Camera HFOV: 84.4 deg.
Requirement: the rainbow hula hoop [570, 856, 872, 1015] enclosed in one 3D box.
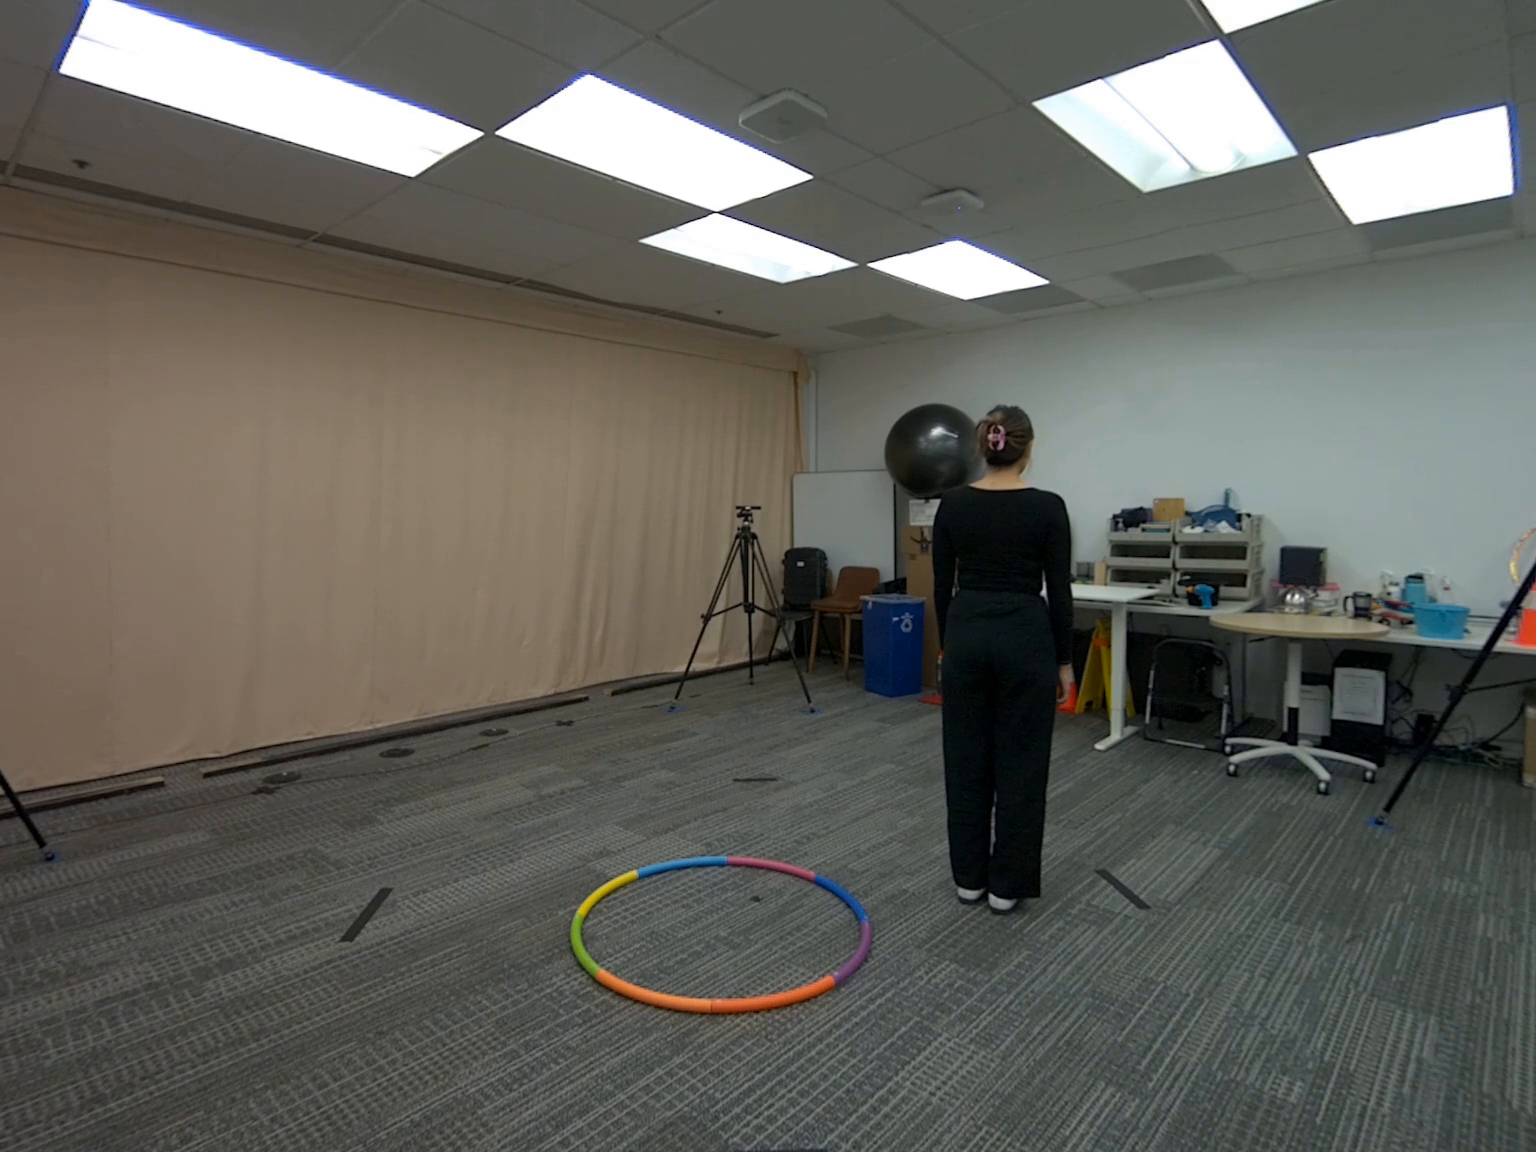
[{"bbox_3d":[-0.153,1.132,2.791,0.978,0.035,0.982,0,4,-2],"label":"rainbow hula hoop"}]
